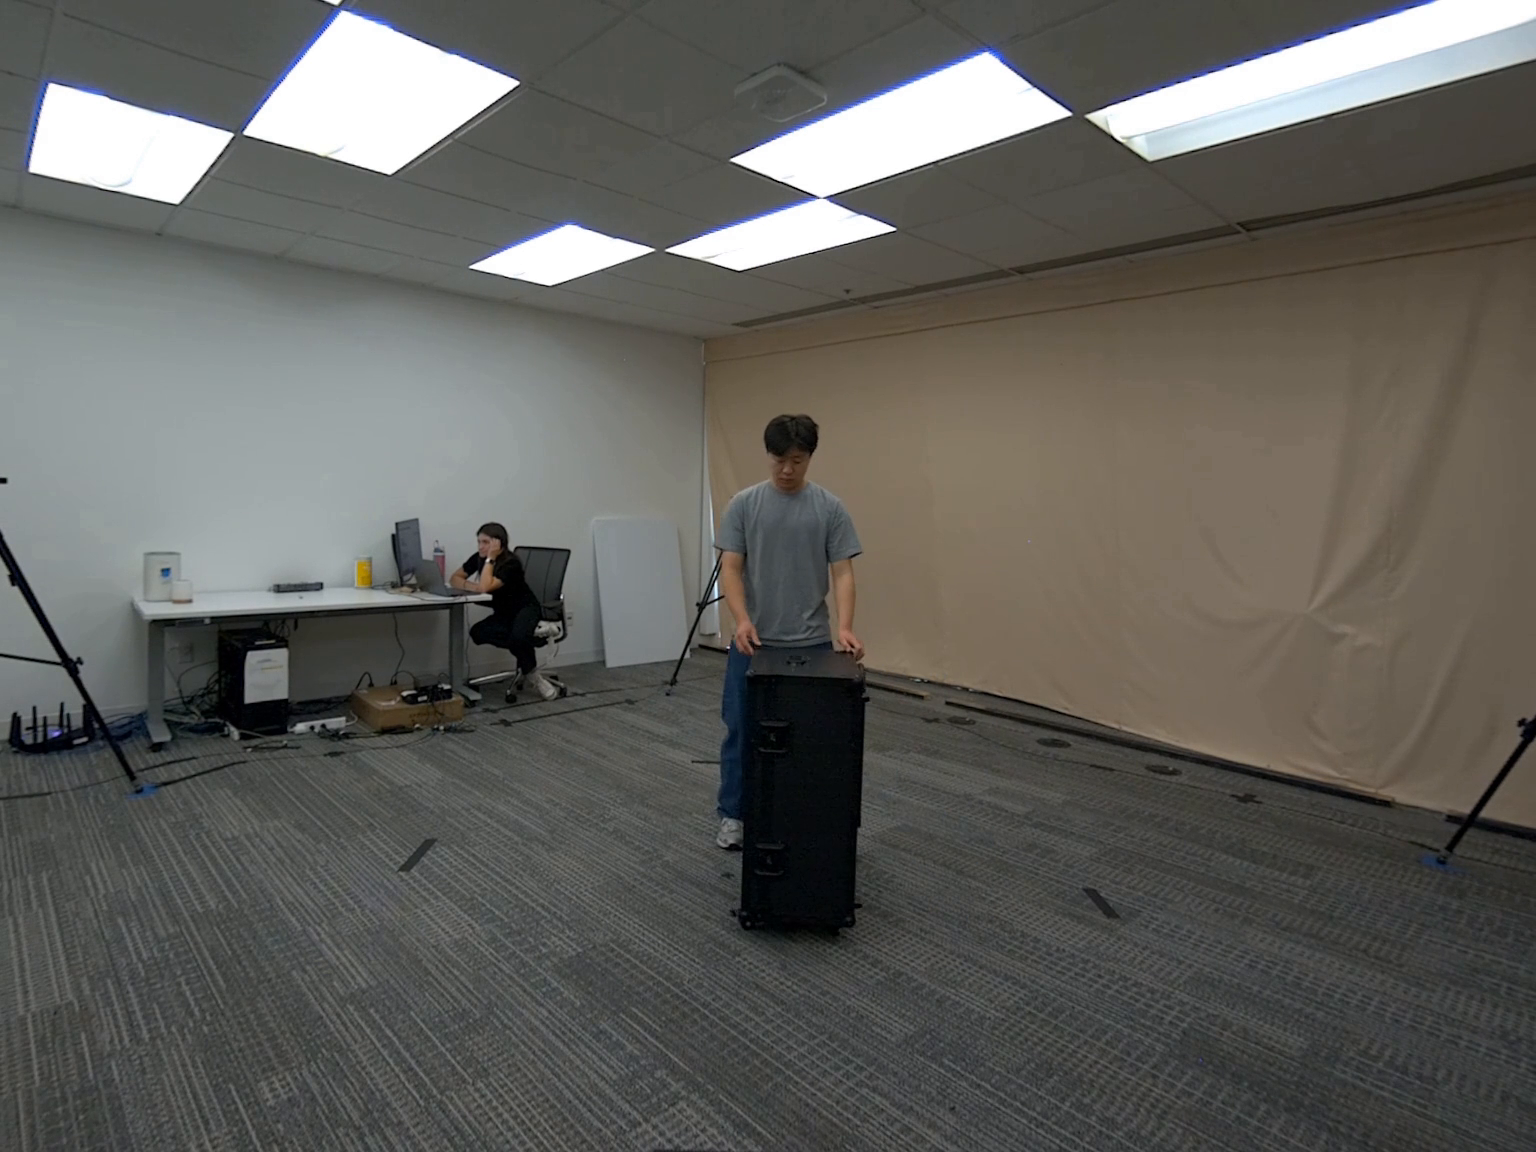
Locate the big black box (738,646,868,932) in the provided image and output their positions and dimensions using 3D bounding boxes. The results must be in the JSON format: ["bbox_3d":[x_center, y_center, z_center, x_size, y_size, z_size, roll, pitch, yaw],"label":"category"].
[{"bbox_3d":[0.108,0.710,2.834,0.398,0.859,0.521,2,3,3],"label":"big black box"}]
